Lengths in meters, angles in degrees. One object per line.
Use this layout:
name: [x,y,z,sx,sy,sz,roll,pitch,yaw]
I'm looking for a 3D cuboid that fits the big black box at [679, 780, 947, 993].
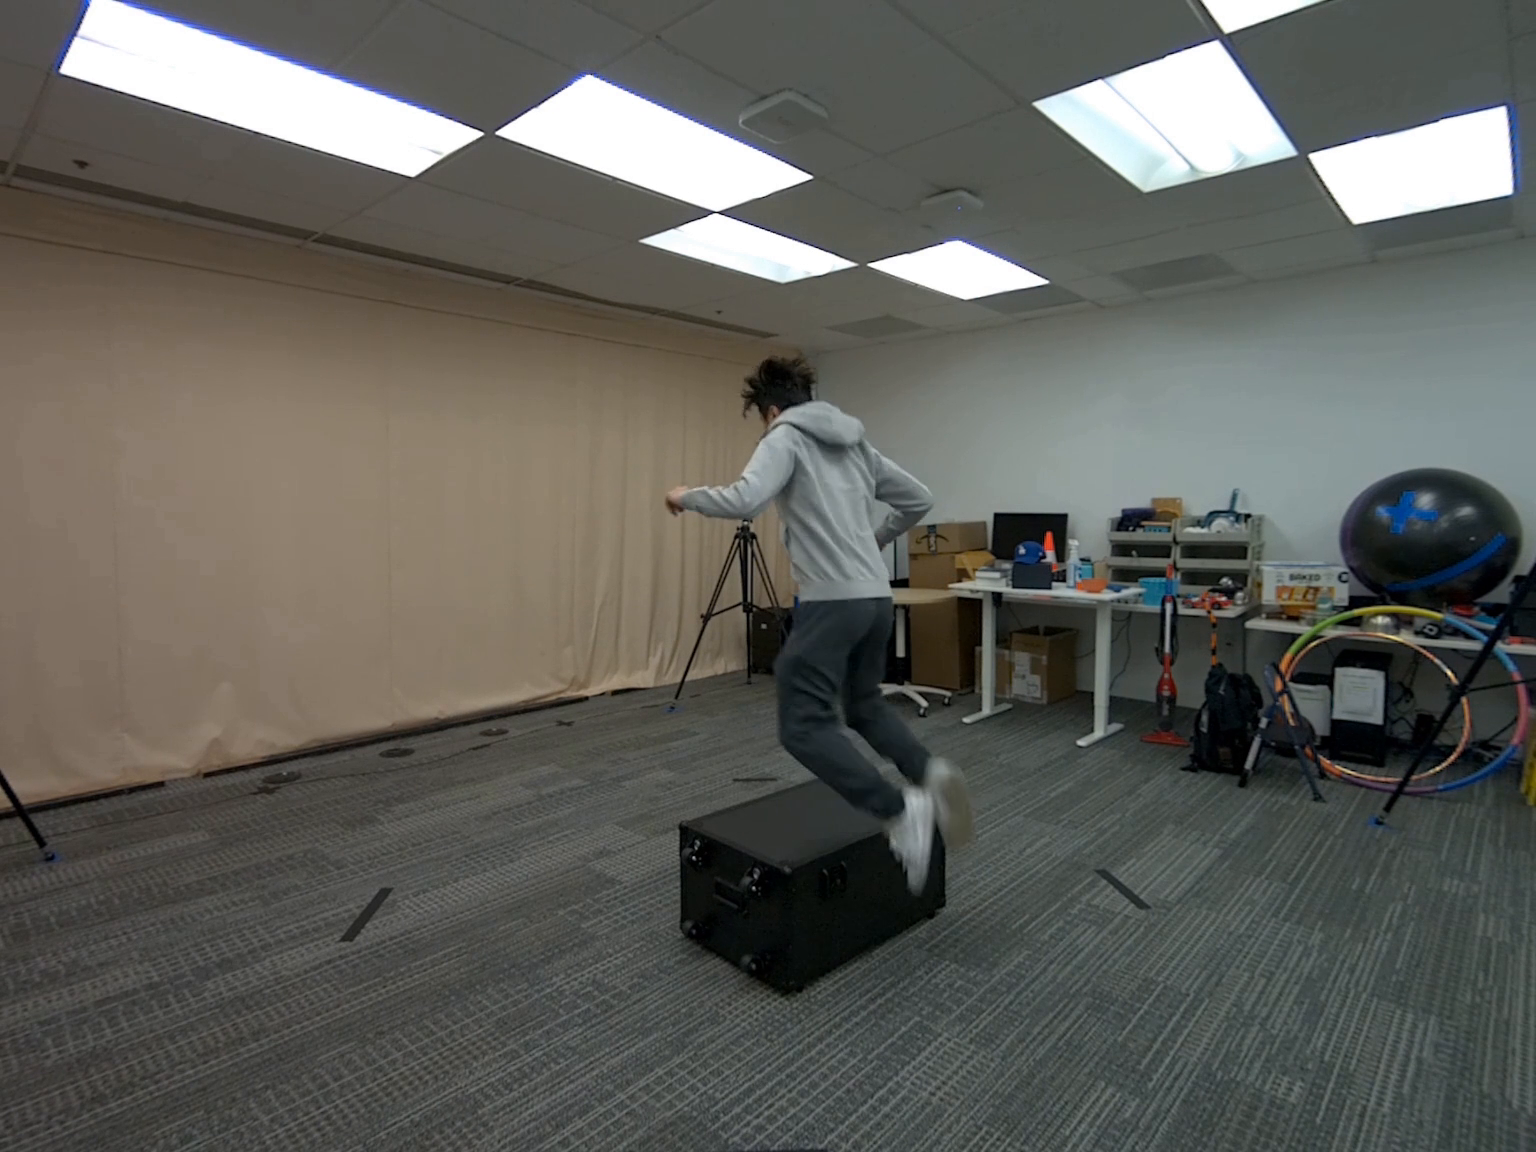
big black box: [0.140,0.971,2.769,0.835,0.395,0.539,-4,5,-44]
